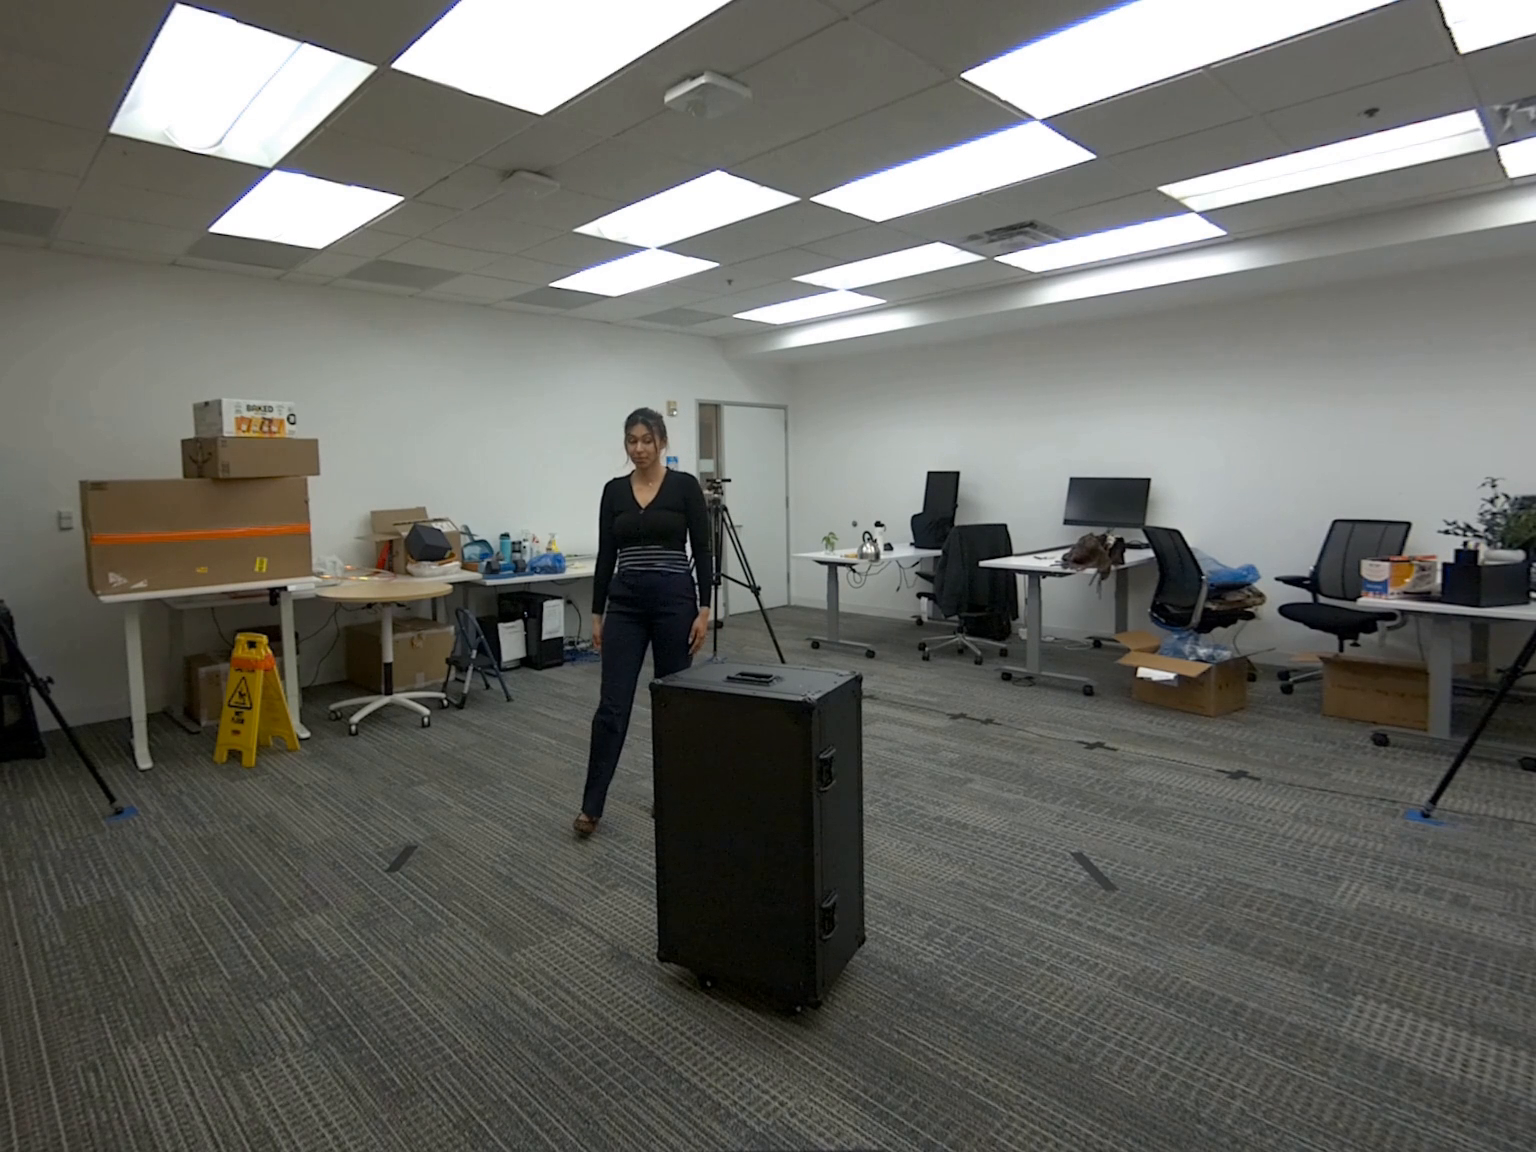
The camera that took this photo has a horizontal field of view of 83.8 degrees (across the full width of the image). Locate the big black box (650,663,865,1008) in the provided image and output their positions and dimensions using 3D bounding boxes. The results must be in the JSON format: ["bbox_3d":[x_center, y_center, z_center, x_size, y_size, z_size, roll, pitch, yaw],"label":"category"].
[{"bbox_3d":[-0.016,0.701,2.395,0.534,0.859,0.388,1,4,28],"label":"big black box"}]
